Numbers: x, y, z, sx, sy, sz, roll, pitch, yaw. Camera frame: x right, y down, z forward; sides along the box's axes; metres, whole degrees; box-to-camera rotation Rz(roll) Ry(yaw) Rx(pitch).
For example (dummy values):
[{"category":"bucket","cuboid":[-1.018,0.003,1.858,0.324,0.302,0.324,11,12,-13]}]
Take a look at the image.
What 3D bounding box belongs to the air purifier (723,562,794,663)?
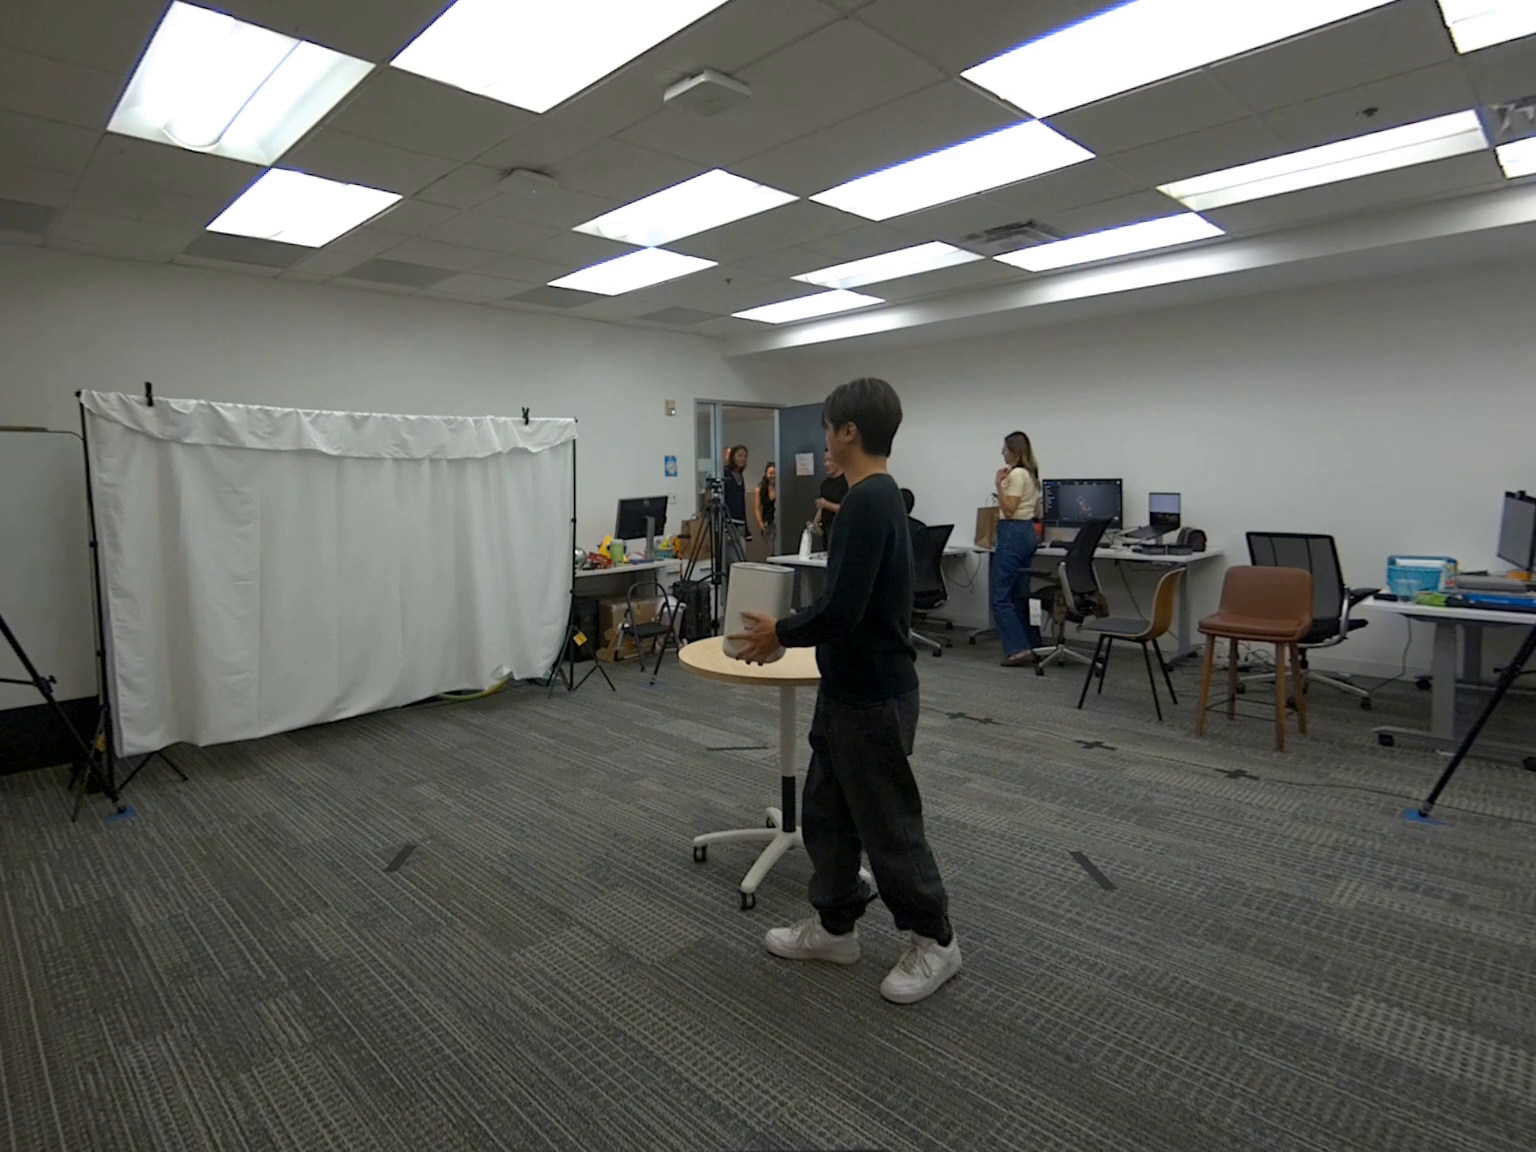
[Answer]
[{"category":"air purifier","cuboid":[-0.012,0.101,2.441,0.174,0.264,0.169,7,4,16]}]
